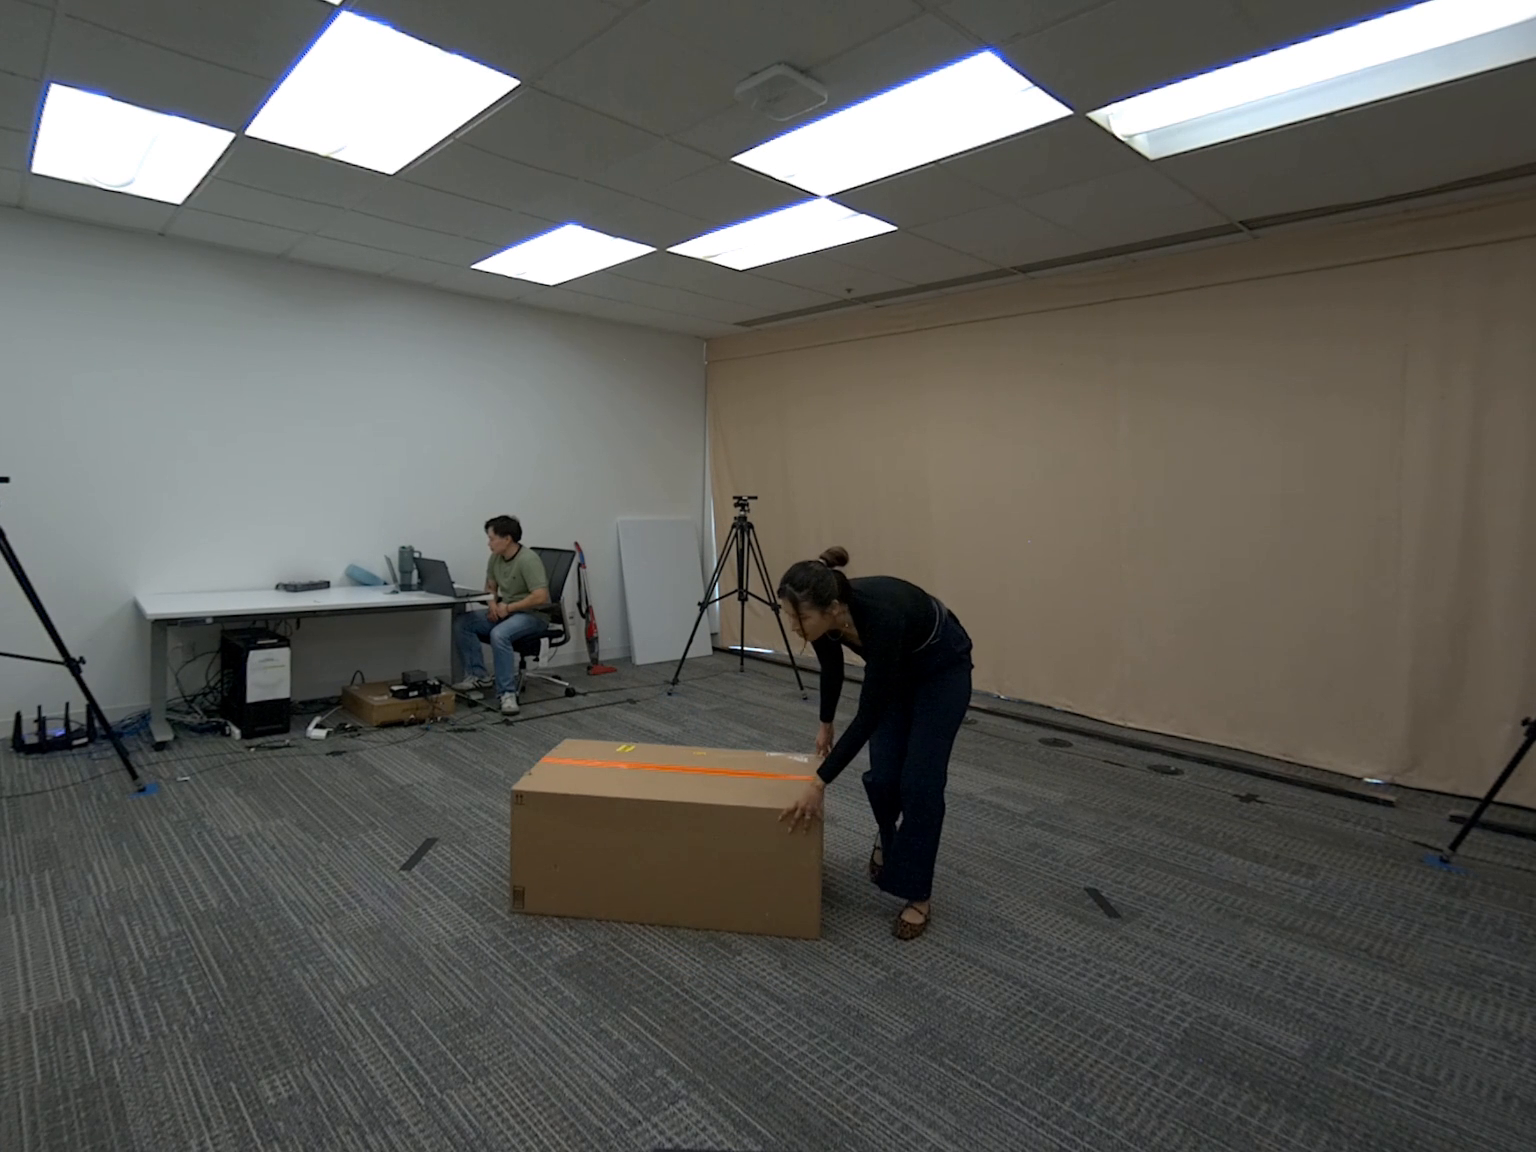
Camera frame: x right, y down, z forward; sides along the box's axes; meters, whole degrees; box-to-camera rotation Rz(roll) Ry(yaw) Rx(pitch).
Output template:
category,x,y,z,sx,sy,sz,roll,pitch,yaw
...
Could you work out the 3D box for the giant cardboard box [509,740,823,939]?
category,x,y,z,sx,sy,sz,roll,pitch,yaw
giant cardboard box,-0.323,0.891,2.983,1.031,0.425,0.576,2,5,6
